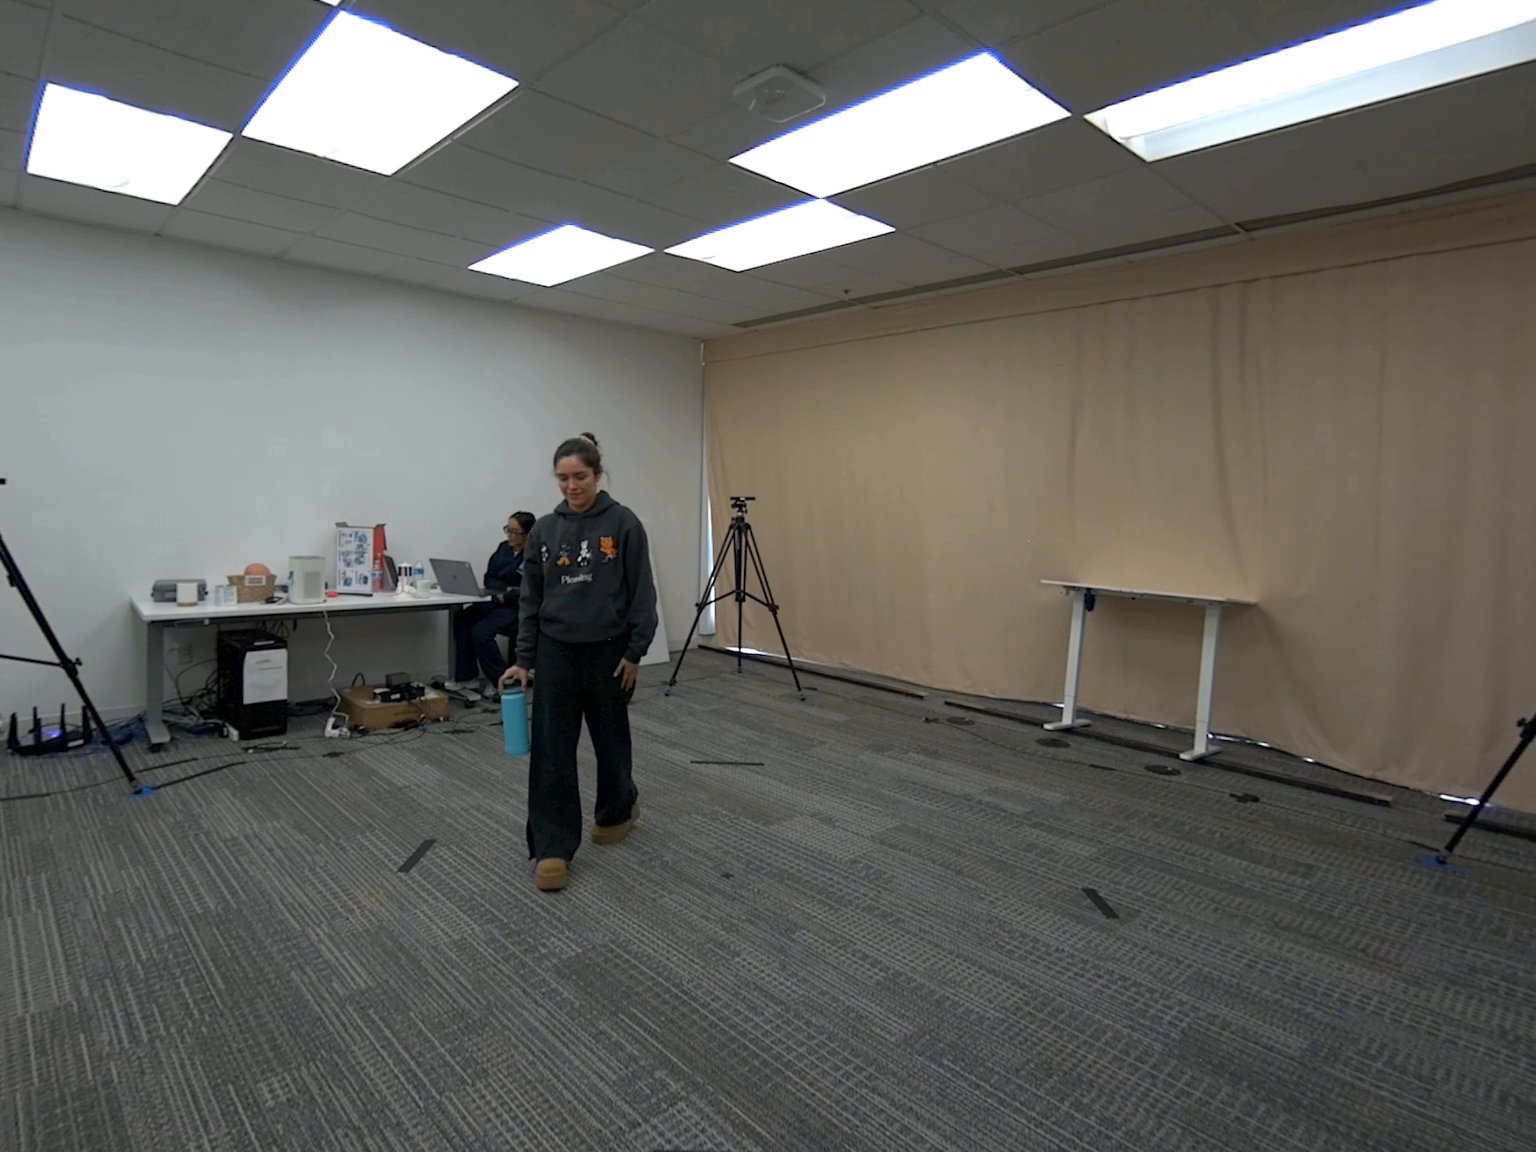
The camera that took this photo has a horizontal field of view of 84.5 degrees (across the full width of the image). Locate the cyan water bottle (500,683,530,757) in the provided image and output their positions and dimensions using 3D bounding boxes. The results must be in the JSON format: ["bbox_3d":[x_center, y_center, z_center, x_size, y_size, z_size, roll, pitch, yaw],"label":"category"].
[{"bbox_3d":[-0.930,0.516,3.114,0.092,0.283,0.092,-4,3,-1],"label":"cyan water bottle"}]
